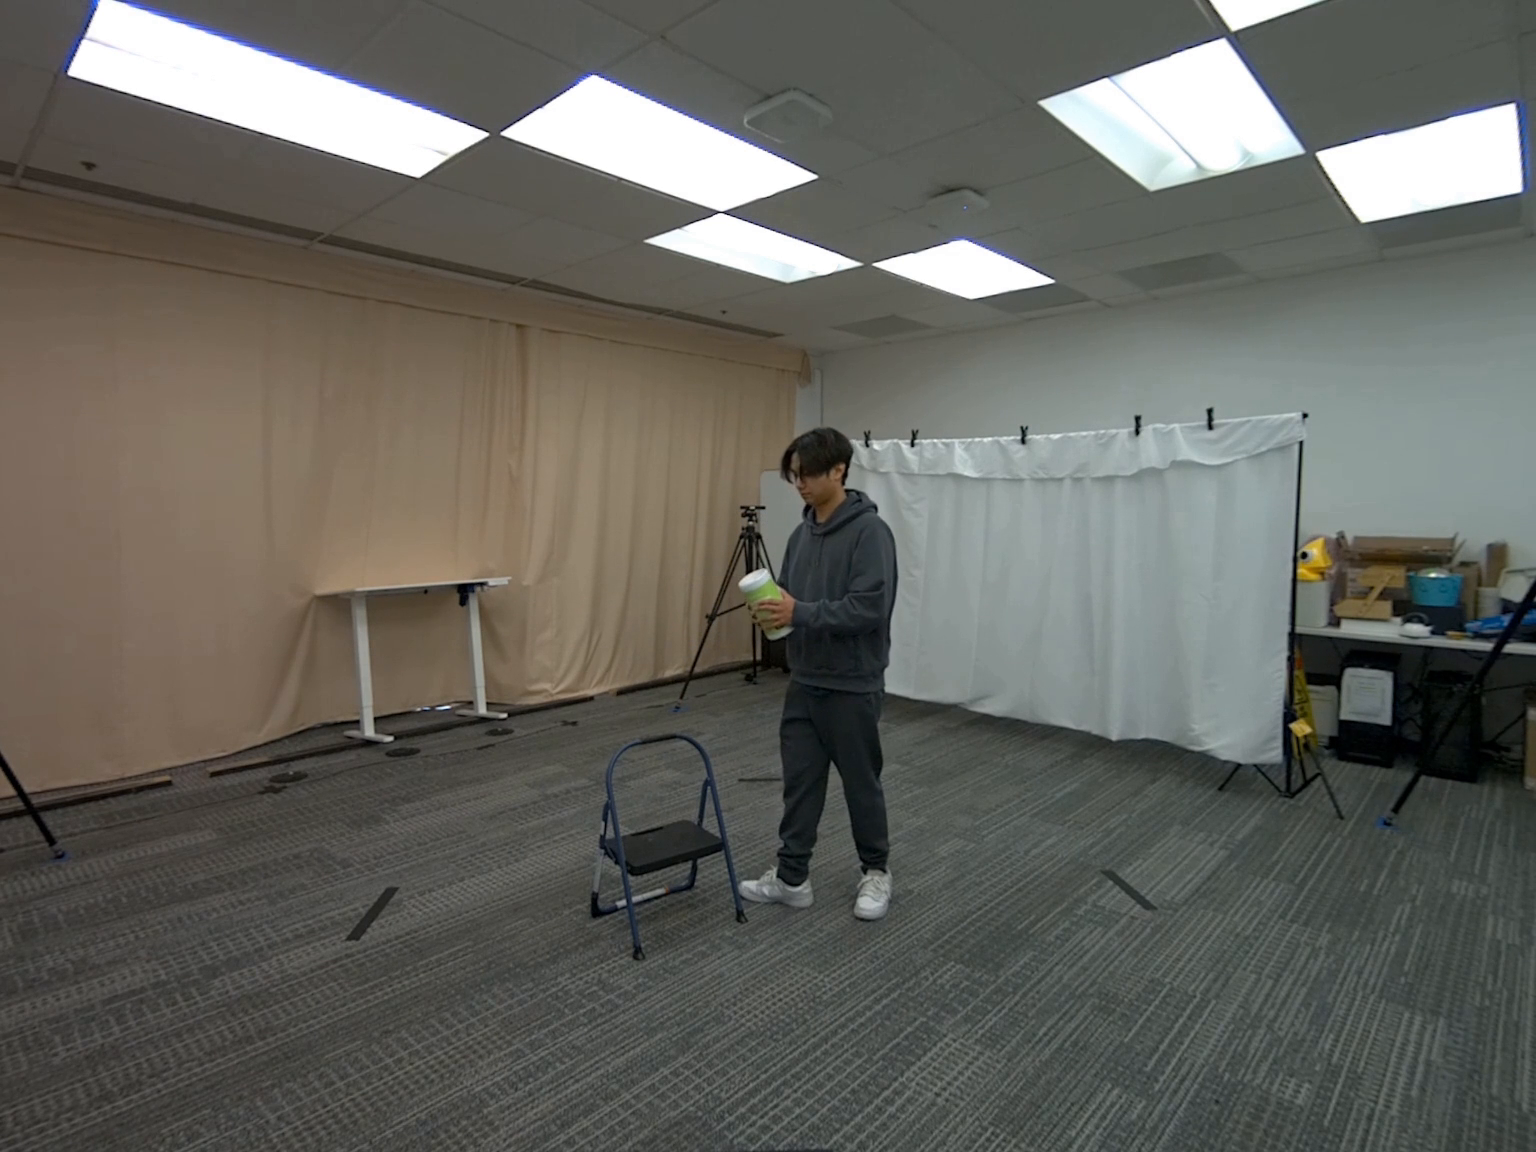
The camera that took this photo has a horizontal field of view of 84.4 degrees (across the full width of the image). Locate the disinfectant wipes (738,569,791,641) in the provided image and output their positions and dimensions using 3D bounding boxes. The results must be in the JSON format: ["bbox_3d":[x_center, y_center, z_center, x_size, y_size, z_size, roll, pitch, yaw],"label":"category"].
[{"bbox_3d":[0.004,0.092,2.771,0.118,0.215,0.119,-29,11,5],"label":"disinfectant wipes"}]
